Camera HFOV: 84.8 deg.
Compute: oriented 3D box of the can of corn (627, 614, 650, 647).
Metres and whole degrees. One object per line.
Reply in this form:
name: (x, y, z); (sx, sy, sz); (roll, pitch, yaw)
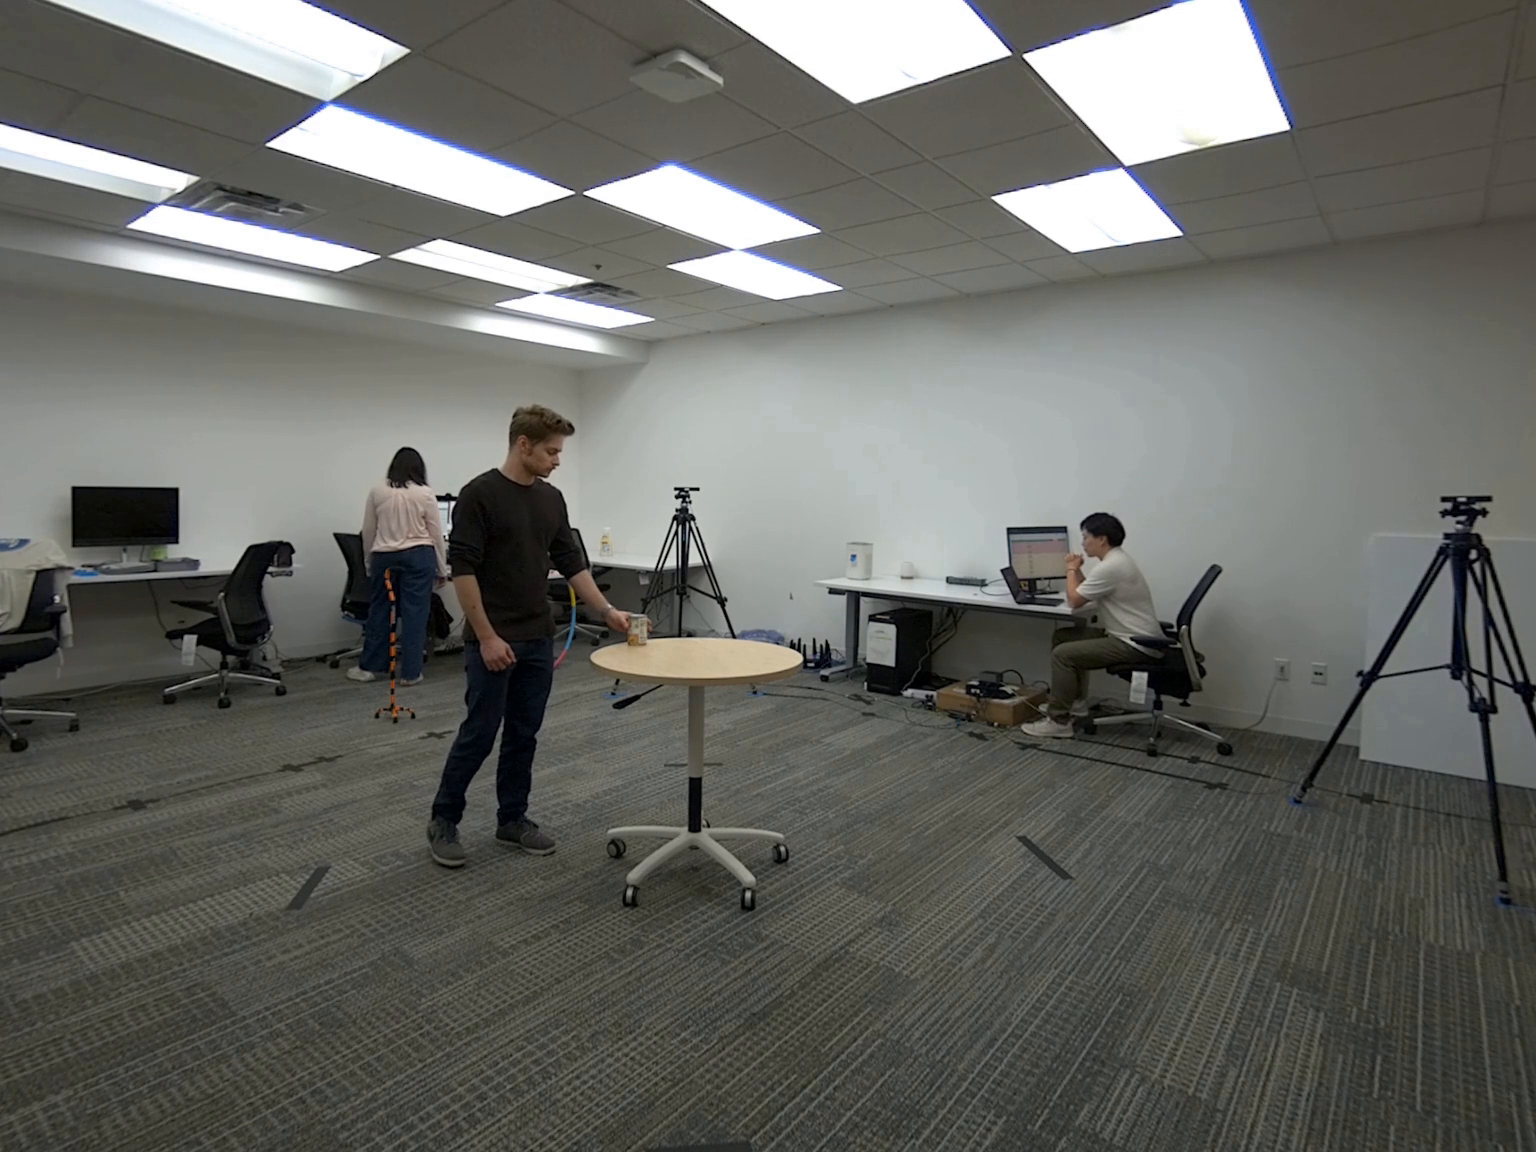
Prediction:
can of corn: (-0.524, 0.209, 3.293); (0.074, 0.111, 0.074); (1, 2, -2)
